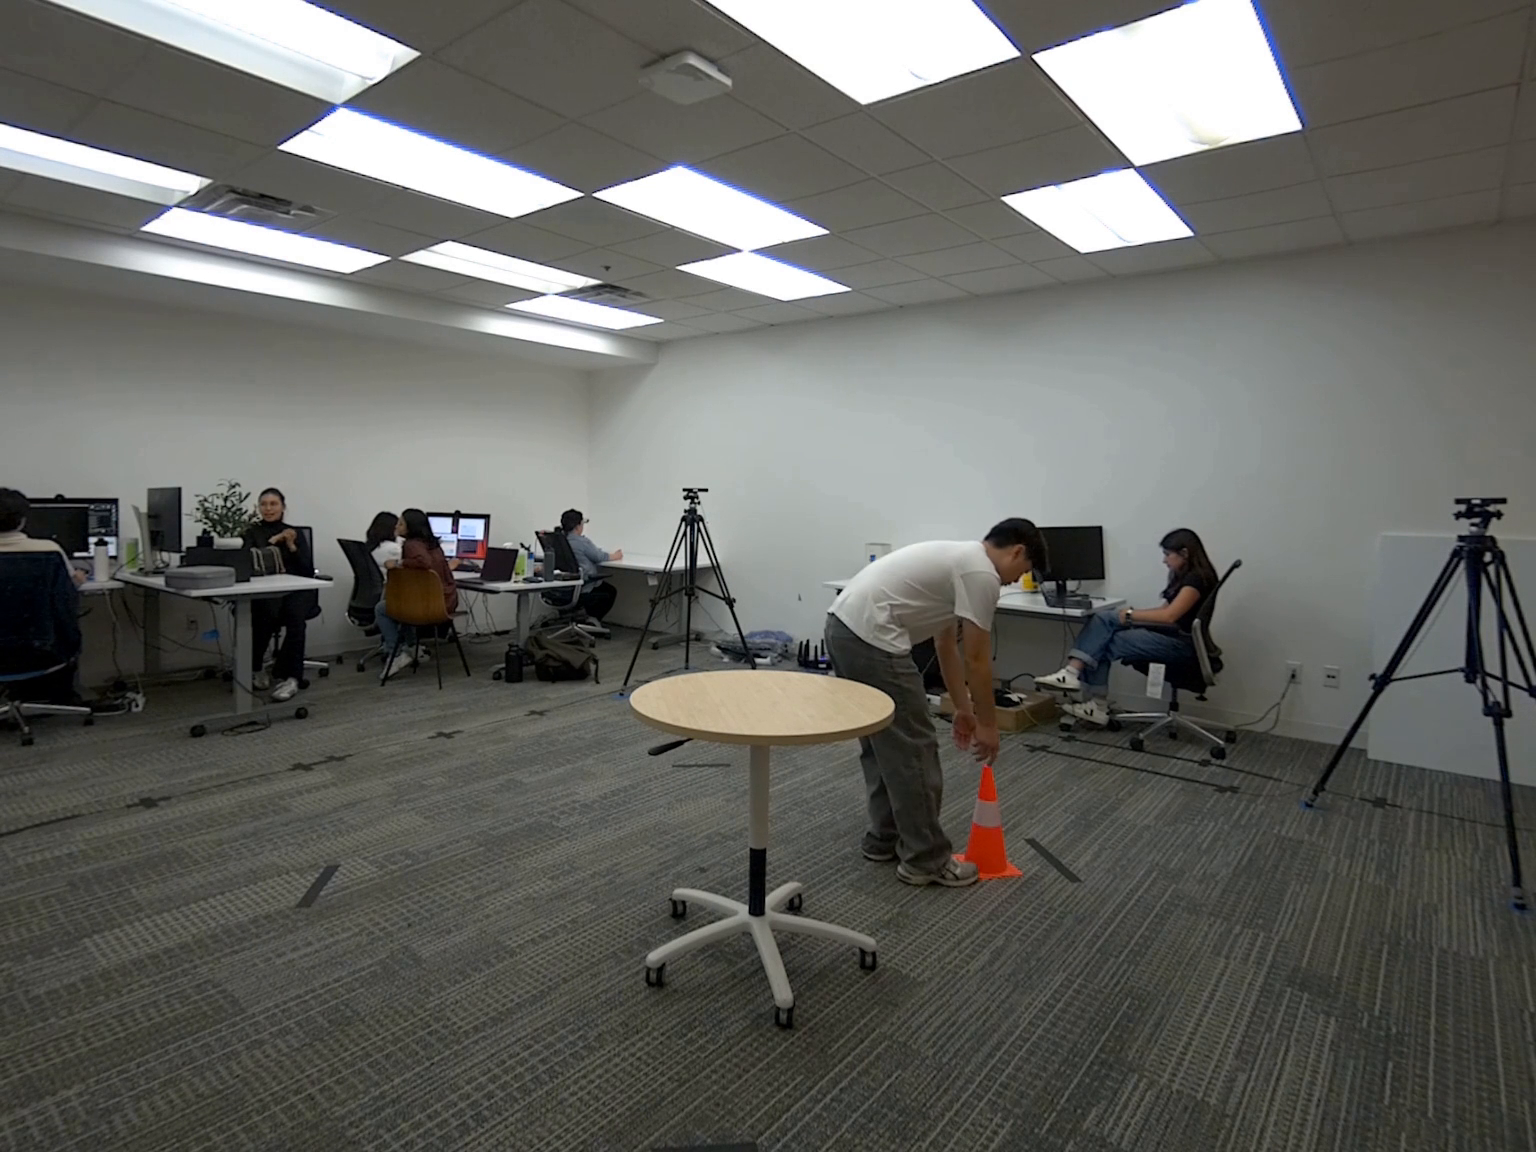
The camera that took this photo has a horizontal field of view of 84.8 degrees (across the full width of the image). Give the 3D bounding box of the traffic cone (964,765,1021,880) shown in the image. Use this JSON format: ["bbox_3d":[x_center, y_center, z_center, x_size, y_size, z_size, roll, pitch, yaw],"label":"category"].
[{"bbox_3d":[0.832,0.894,3.195,0.200,0.382,0.209,-2,5,-24],"label":"traffic cone"}]
